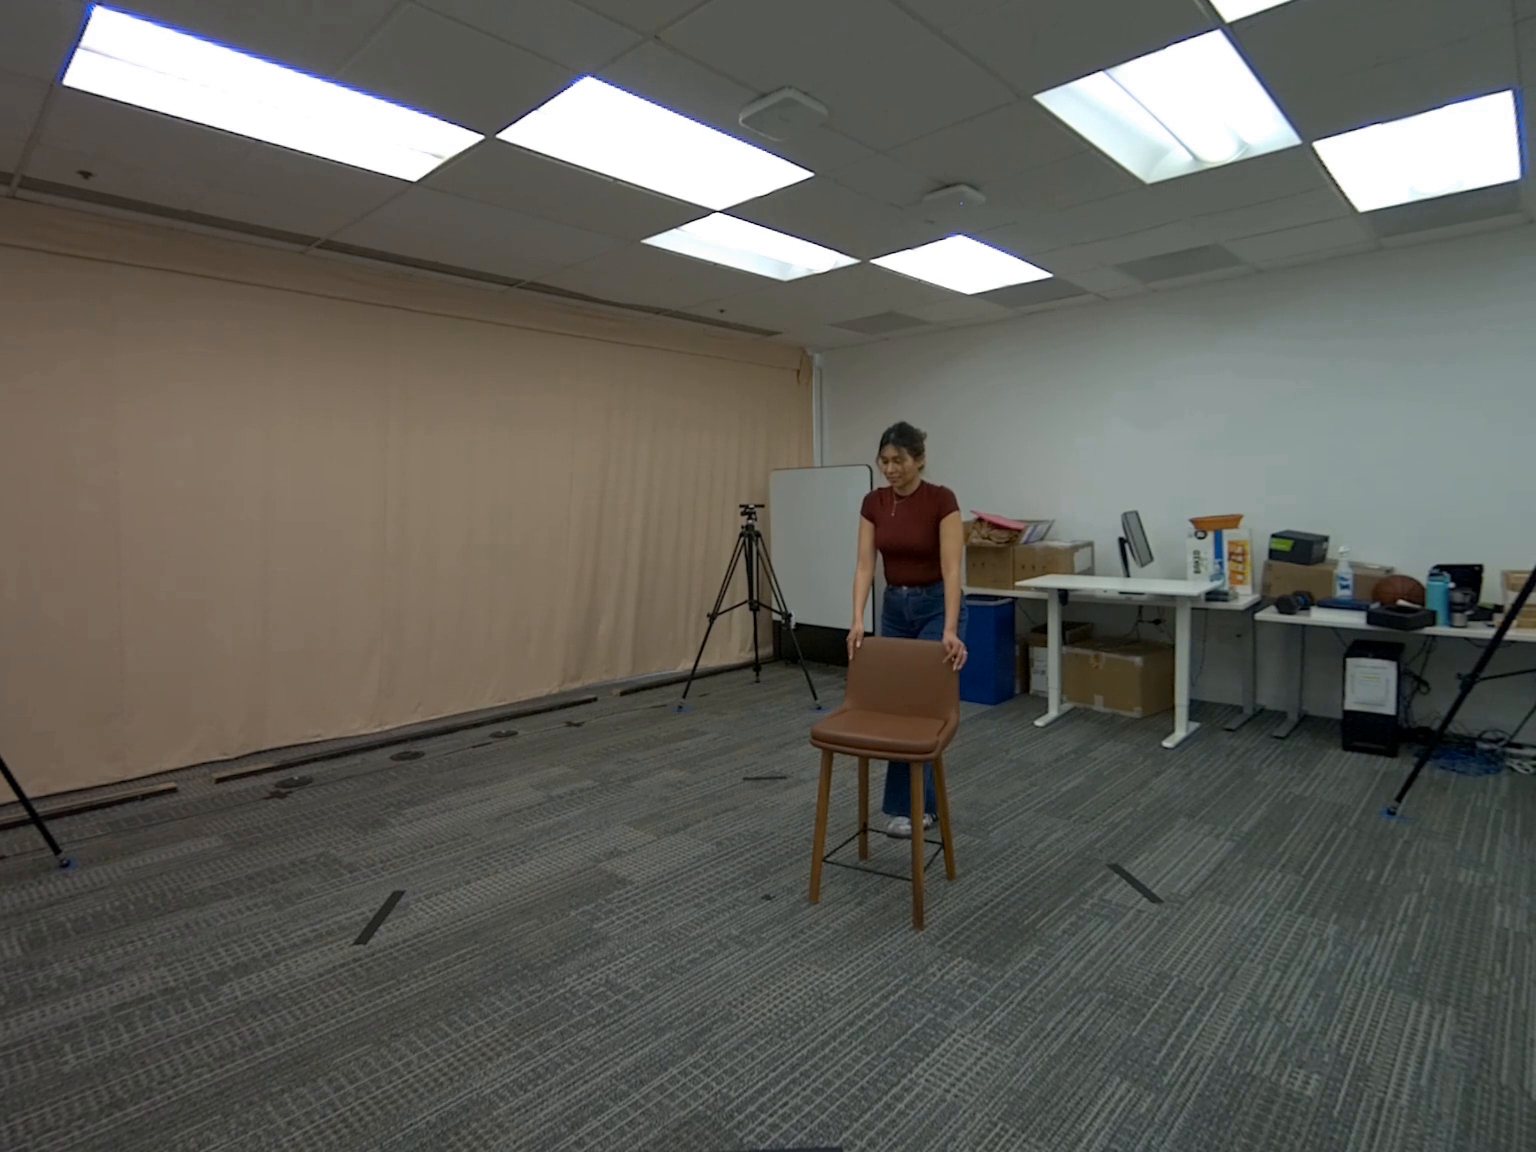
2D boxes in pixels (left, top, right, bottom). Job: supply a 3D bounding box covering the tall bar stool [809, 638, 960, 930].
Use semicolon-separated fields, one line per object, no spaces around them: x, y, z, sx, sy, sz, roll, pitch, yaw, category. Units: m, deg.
0.429;0.691;3.009;0.470;0.889;0.454;2;2;31;tall bar stool
